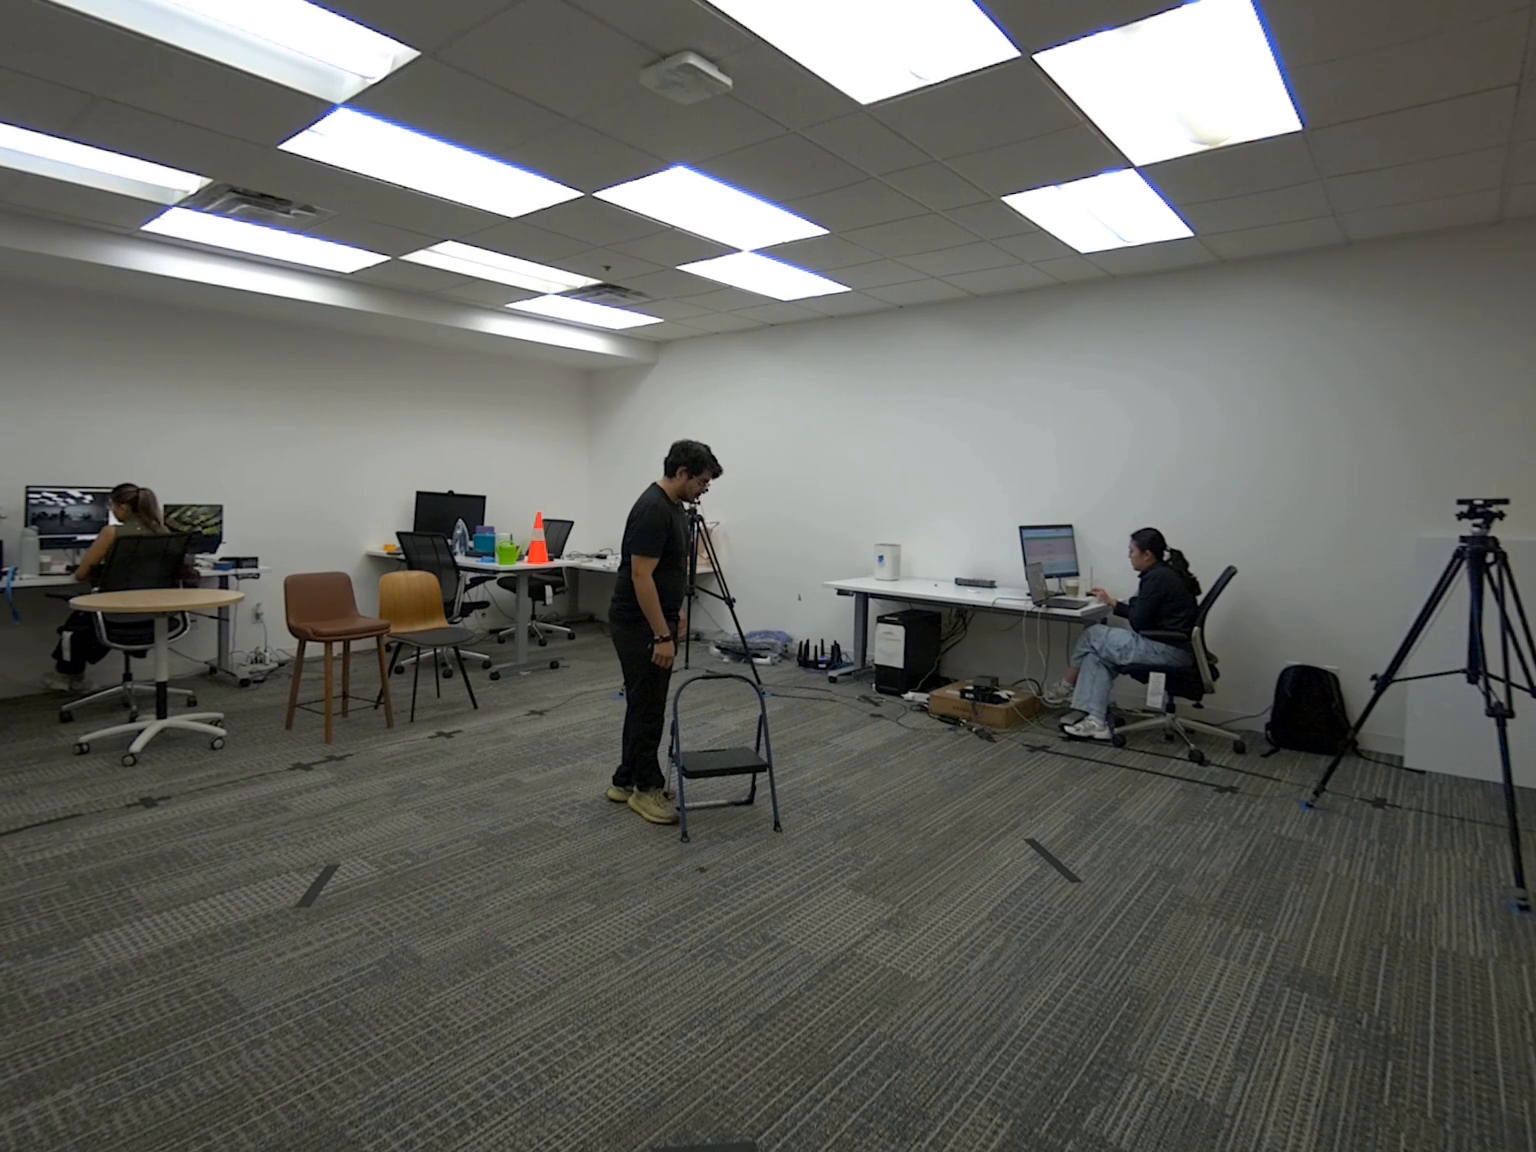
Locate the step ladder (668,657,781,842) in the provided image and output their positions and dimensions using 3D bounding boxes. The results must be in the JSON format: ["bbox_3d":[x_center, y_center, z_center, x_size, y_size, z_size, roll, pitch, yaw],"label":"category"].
[{"bbox_3d":[-0.199,0.723,3.557,0.422,0.604,0.357,0,3,-20],"label":"step ladder"}]
